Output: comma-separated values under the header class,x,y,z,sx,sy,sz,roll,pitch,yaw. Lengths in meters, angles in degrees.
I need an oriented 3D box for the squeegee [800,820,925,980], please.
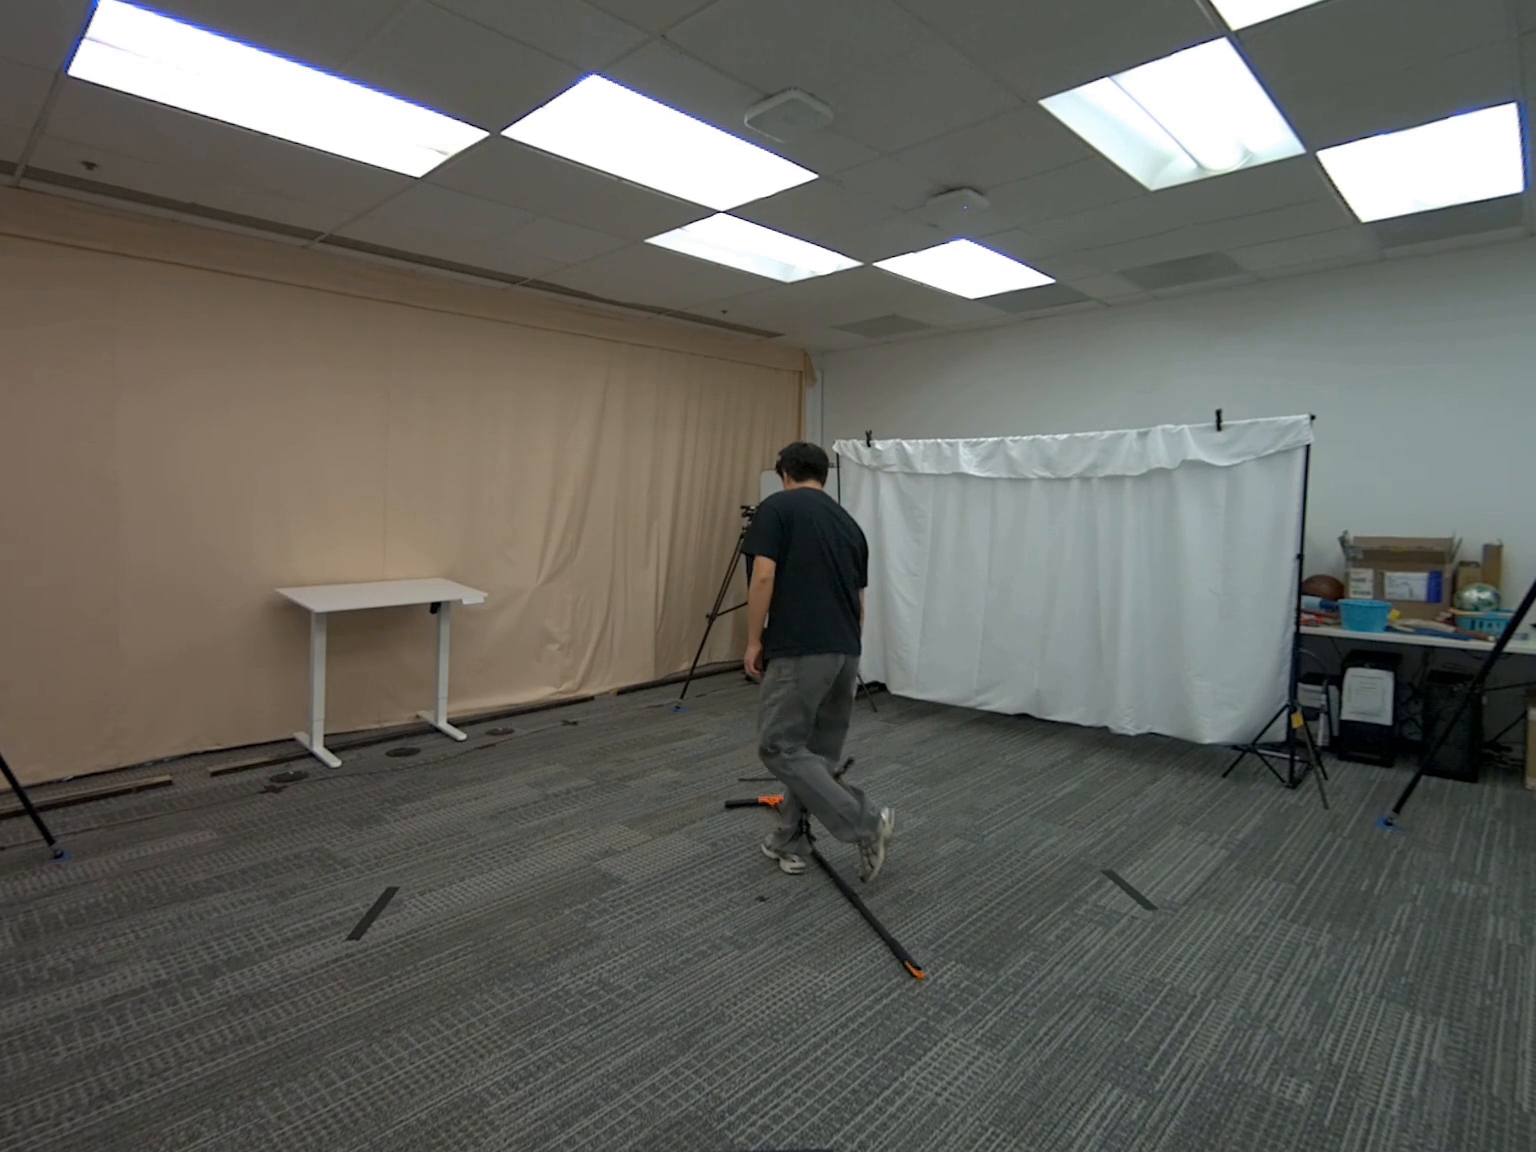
class,x,y,z,sx,sy,sz,roll,pitch,yaw
squeegee,0.232,1.067,3.200,0.430,0.053,1.566,-3,5,-17
